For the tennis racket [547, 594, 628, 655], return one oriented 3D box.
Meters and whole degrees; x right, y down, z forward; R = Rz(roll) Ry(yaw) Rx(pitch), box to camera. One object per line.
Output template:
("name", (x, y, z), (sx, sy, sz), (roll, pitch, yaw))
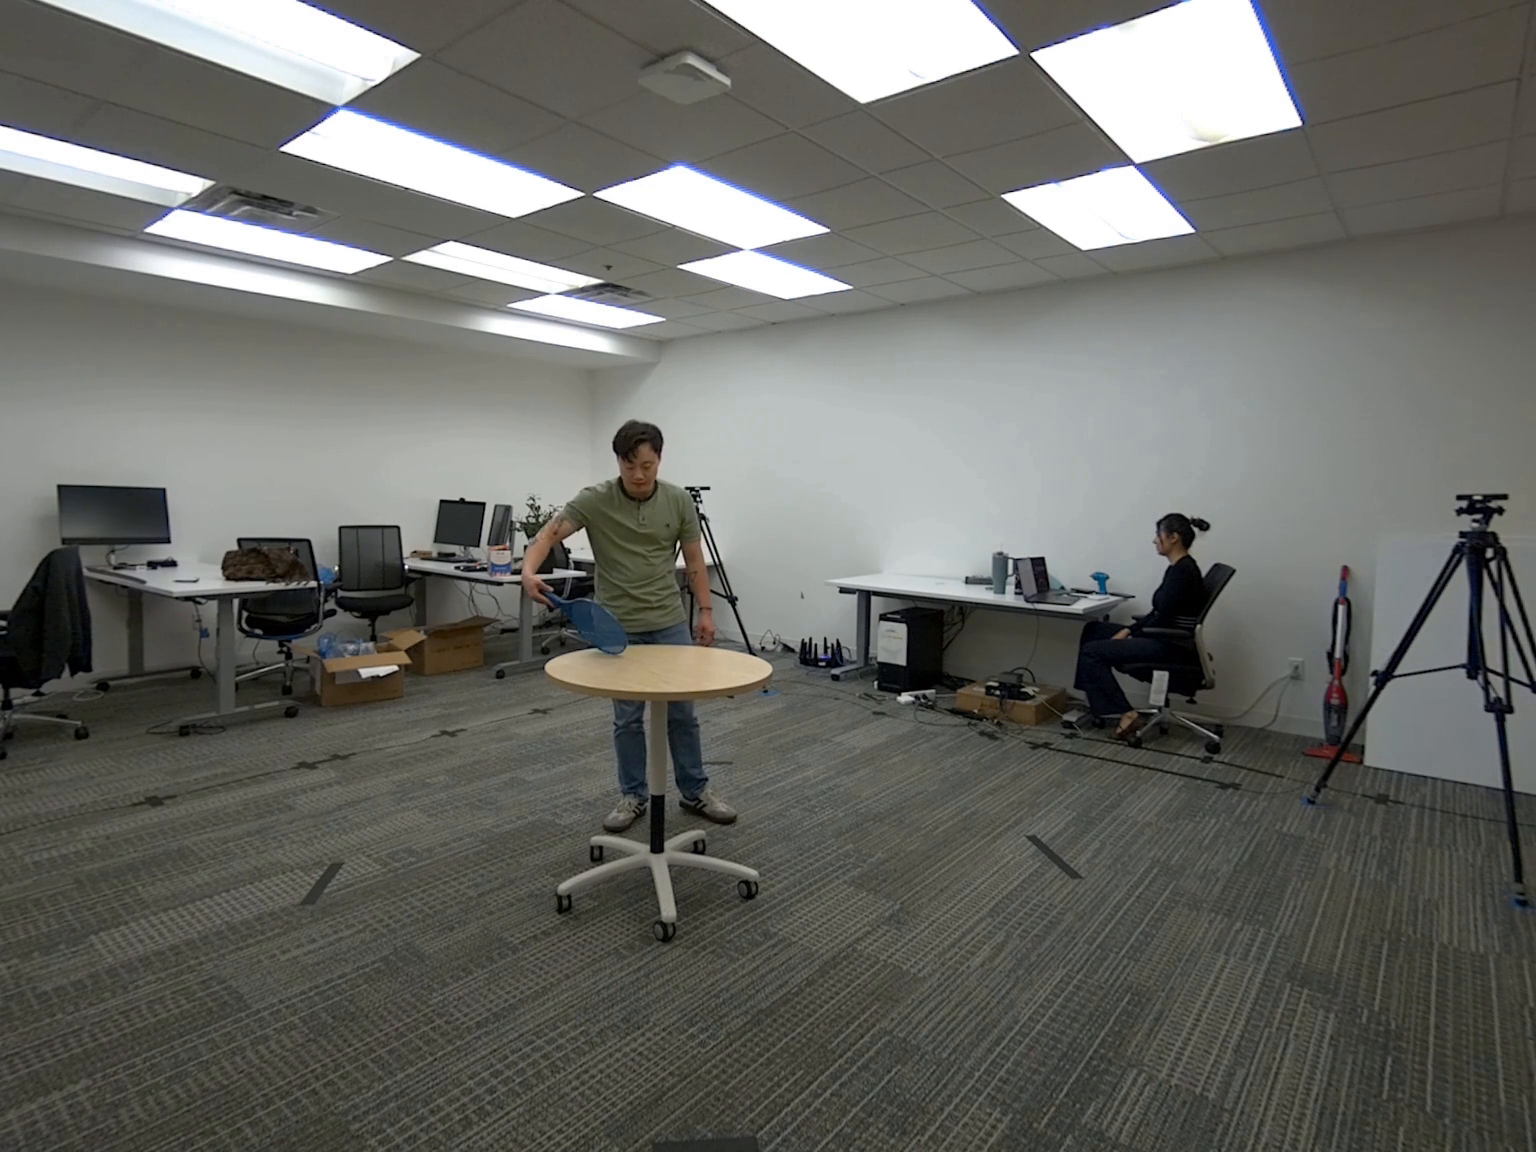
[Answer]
("tennis racket", (-0.703, 0.143, 3.056), (0.446, 0.208, 0.031), (29, 45, 22))
